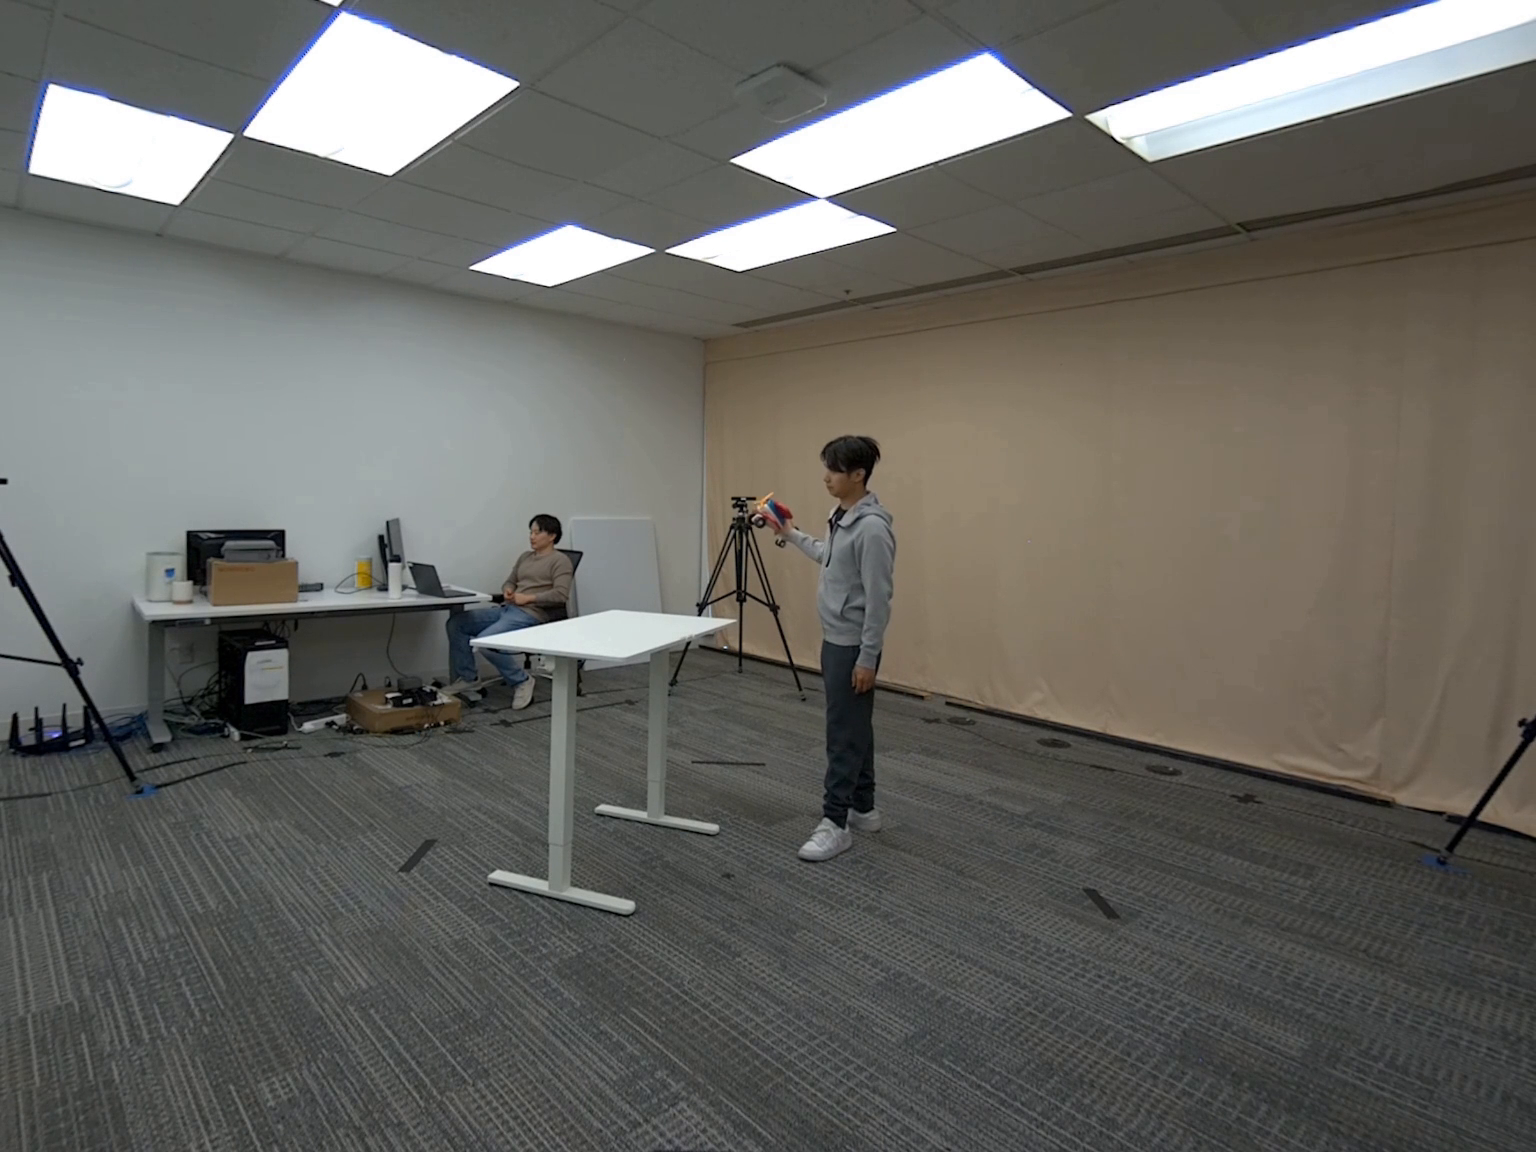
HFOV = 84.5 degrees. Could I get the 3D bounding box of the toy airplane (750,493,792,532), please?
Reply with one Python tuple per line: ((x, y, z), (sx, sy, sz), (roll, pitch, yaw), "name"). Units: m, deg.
((0.013, -0.266, 4.019), (0.259, 0.156, 0.251), (33, -5, 36), "toy airplane")
